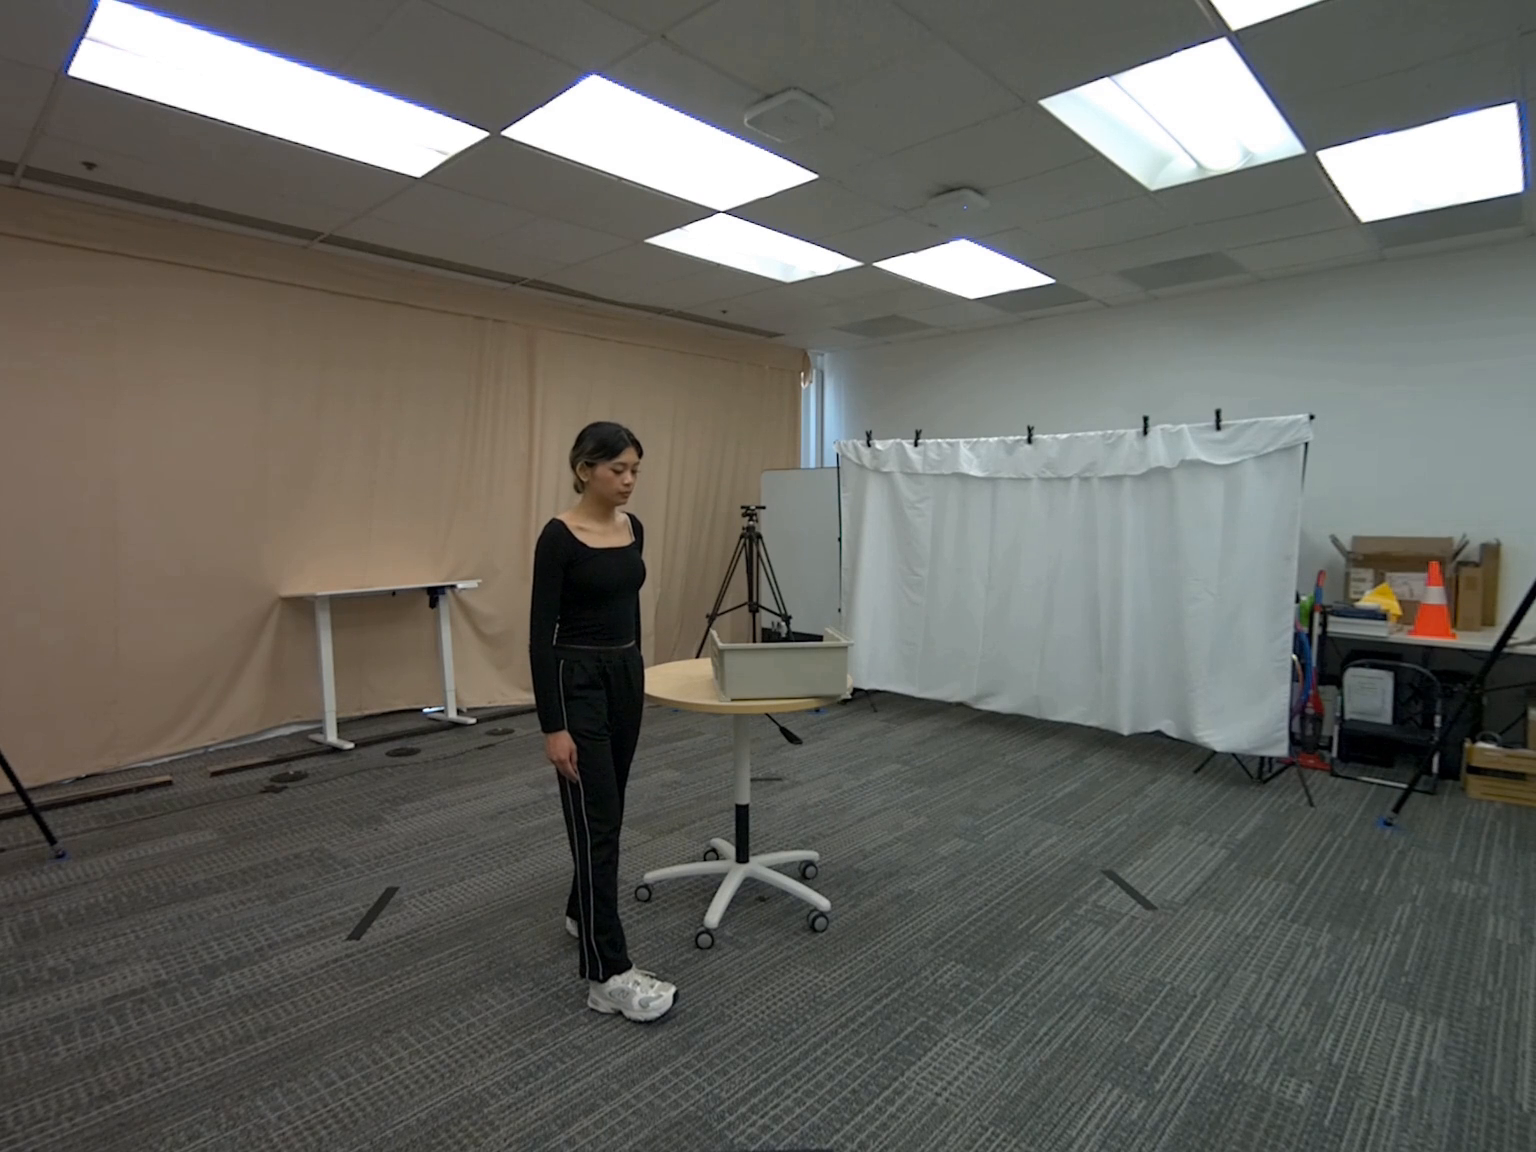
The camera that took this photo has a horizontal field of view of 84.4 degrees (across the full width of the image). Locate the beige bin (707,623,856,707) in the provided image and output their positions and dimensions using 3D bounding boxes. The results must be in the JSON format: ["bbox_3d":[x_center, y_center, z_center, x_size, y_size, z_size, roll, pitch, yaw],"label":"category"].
[{"bbox_3d":[0.028,0.281,2.773,0.420,0.188,0.381,-1,5,-7],"label":"beige bin"}]
